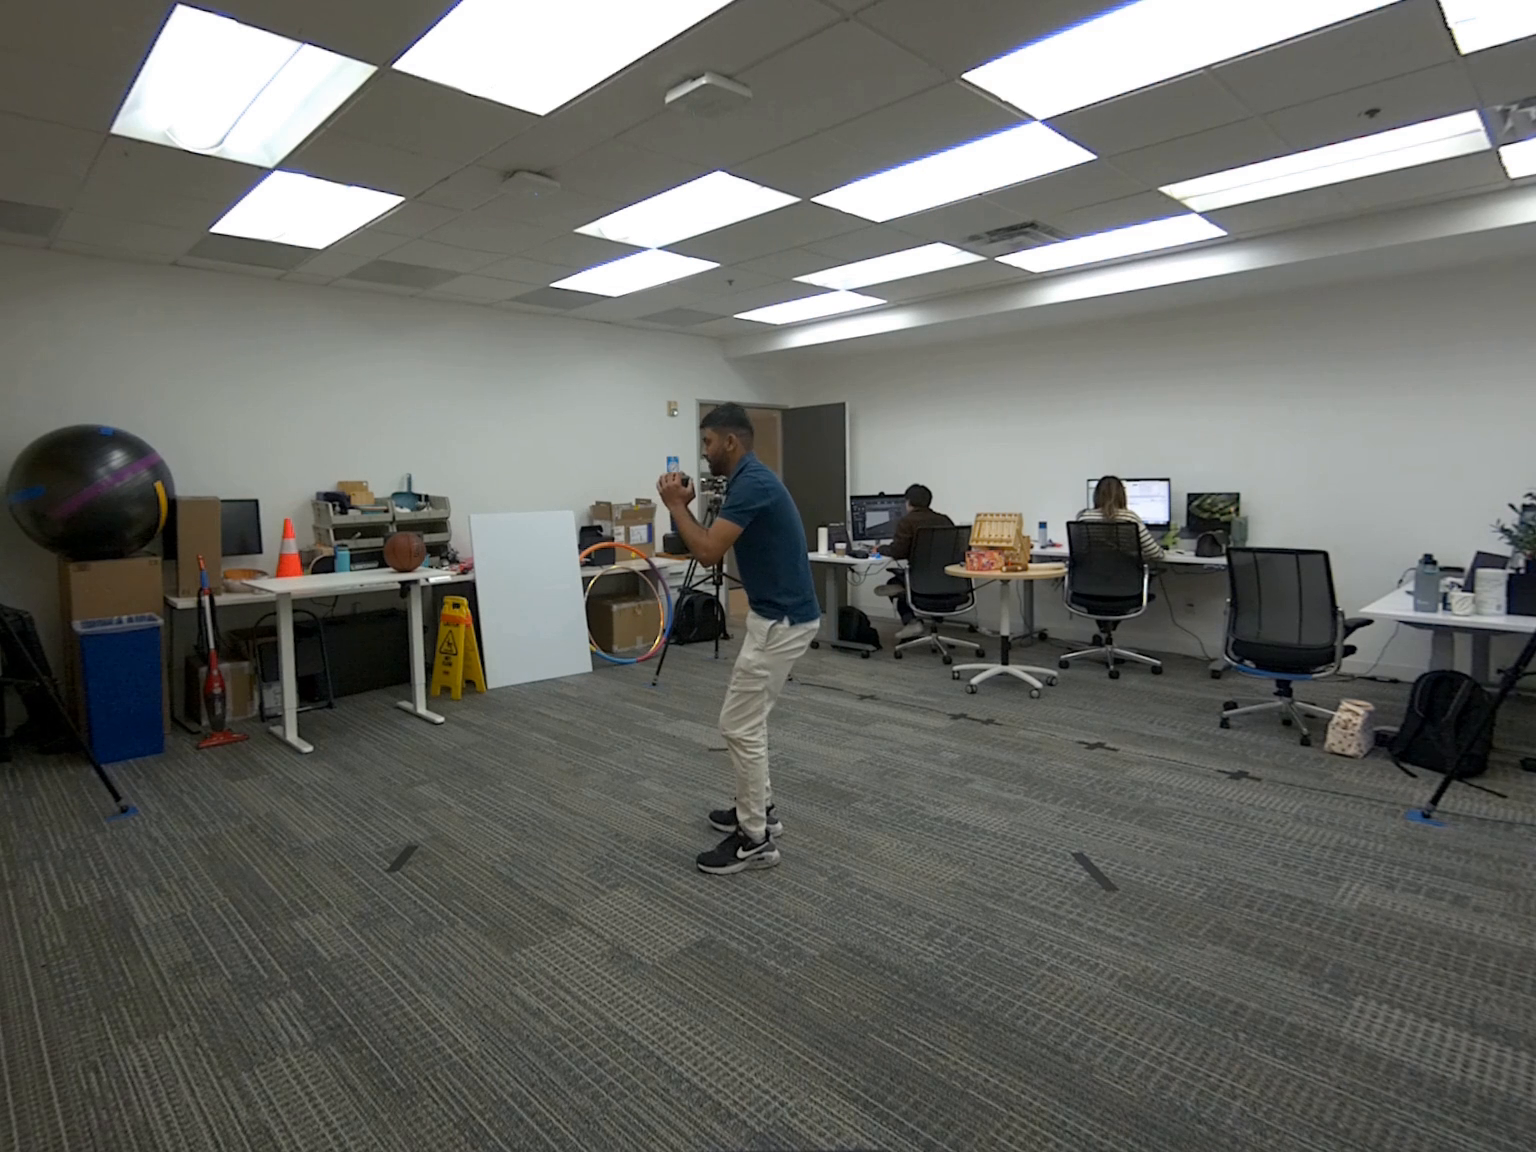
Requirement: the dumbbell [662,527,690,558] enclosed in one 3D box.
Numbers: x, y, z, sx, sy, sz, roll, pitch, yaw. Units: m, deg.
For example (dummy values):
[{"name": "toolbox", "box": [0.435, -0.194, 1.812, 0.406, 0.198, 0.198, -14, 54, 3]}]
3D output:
[{"name": "dumbbell", "box": [-0.337, -0.220, 3.197, 0.123, 0.292, 0.109, -1, 5, -3]}]
